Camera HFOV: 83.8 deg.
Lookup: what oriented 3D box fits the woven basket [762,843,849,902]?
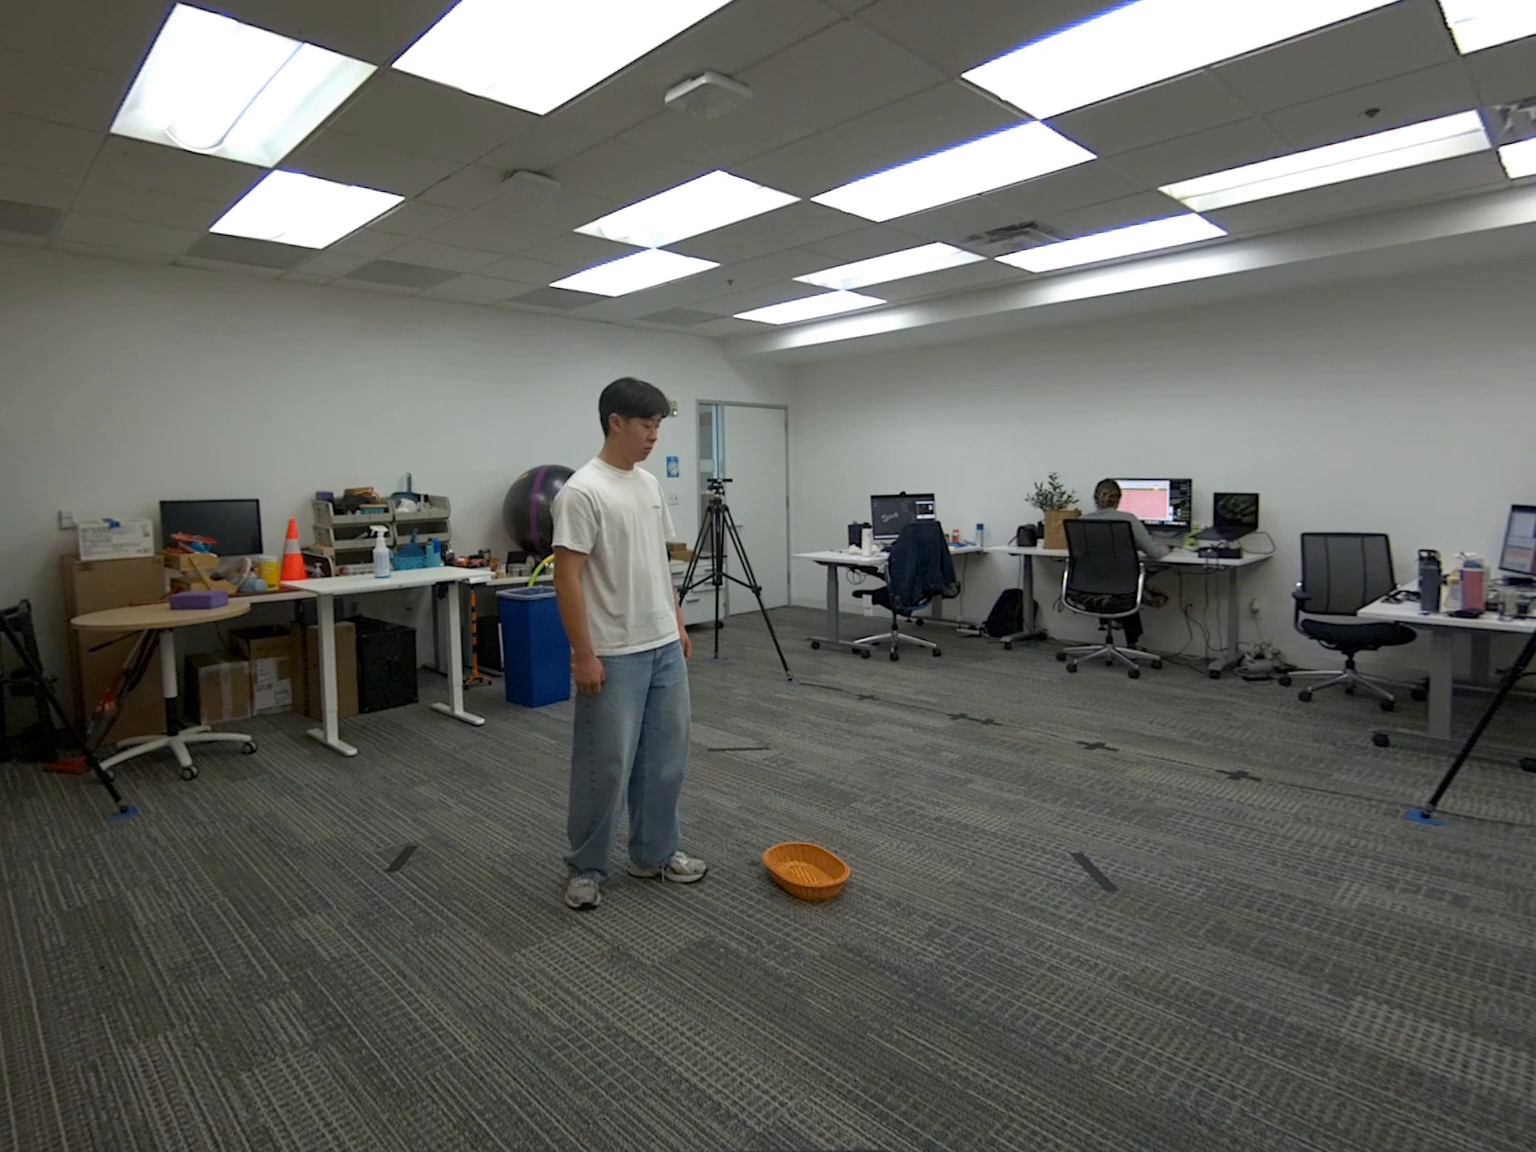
[{"bbox_3d":[0.129,1.016,2.956,0.247,0.073,0.359,-4,7,-25],"label":"woven basket"}]
